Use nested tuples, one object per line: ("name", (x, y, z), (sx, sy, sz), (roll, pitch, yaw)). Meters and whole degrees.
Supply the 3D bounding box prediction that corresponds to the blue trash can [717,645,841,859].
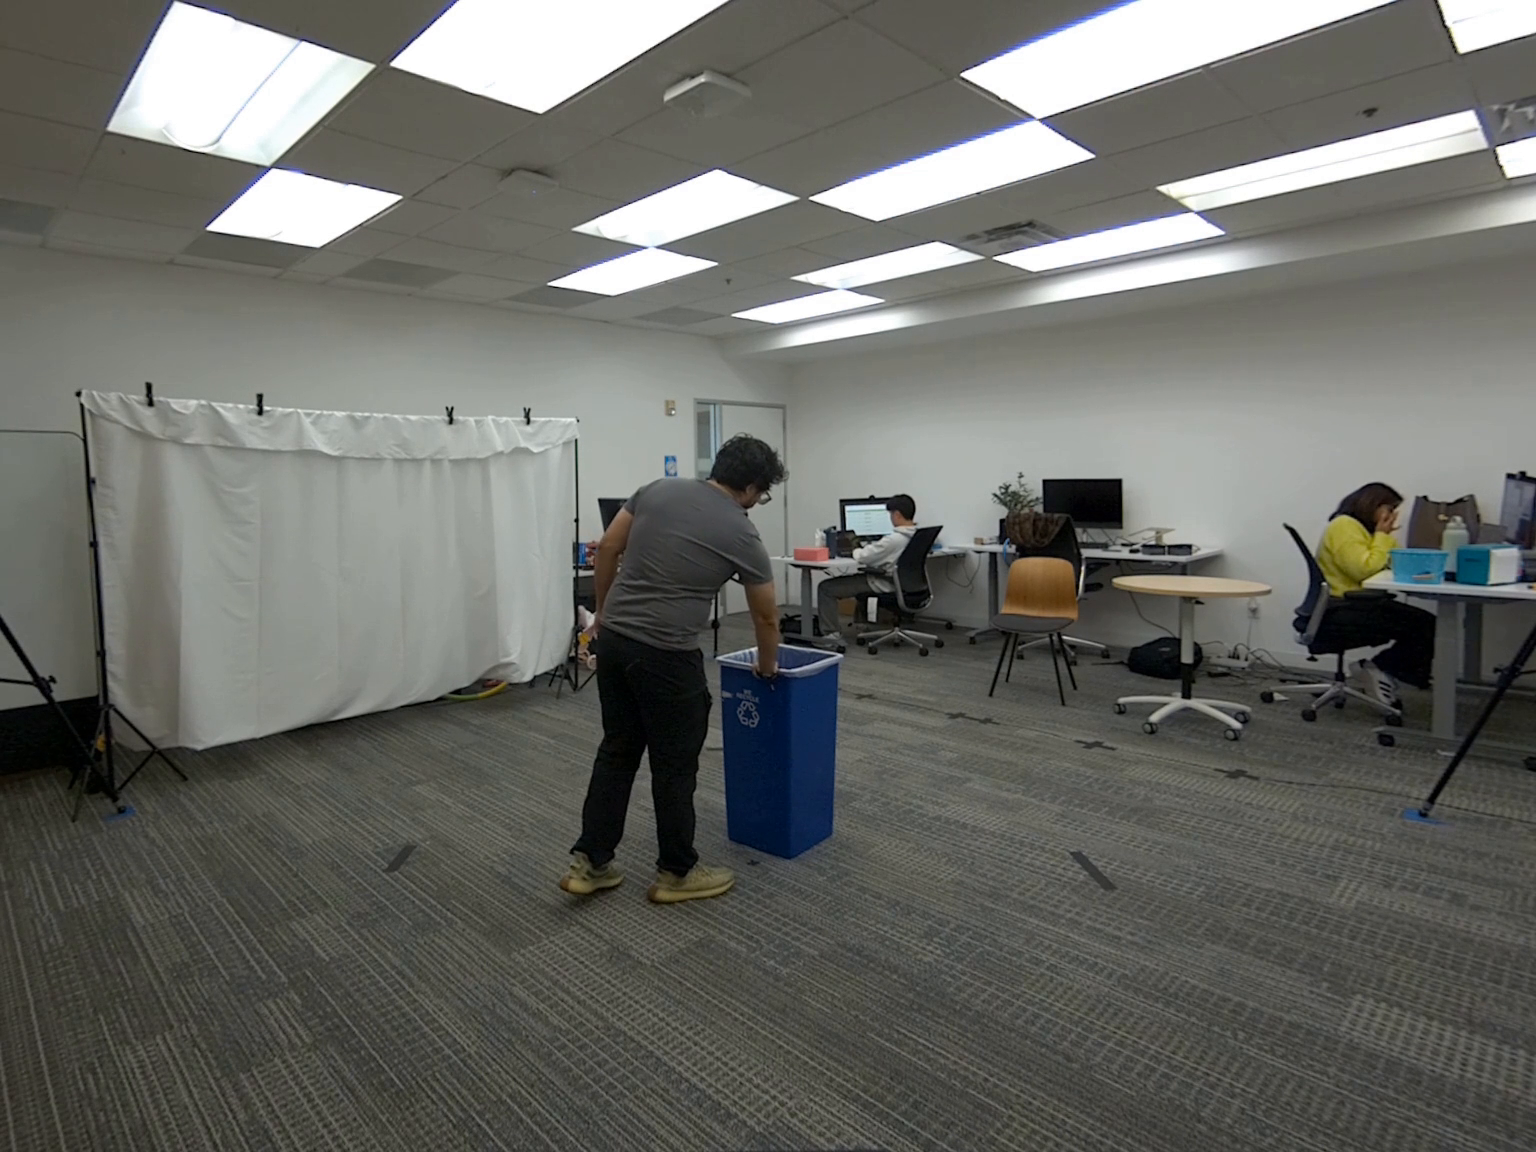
("blue trash can", (0.057, 0.659, 3.303), (0.385, 0.711, 0.368), (3, 6, 39))
